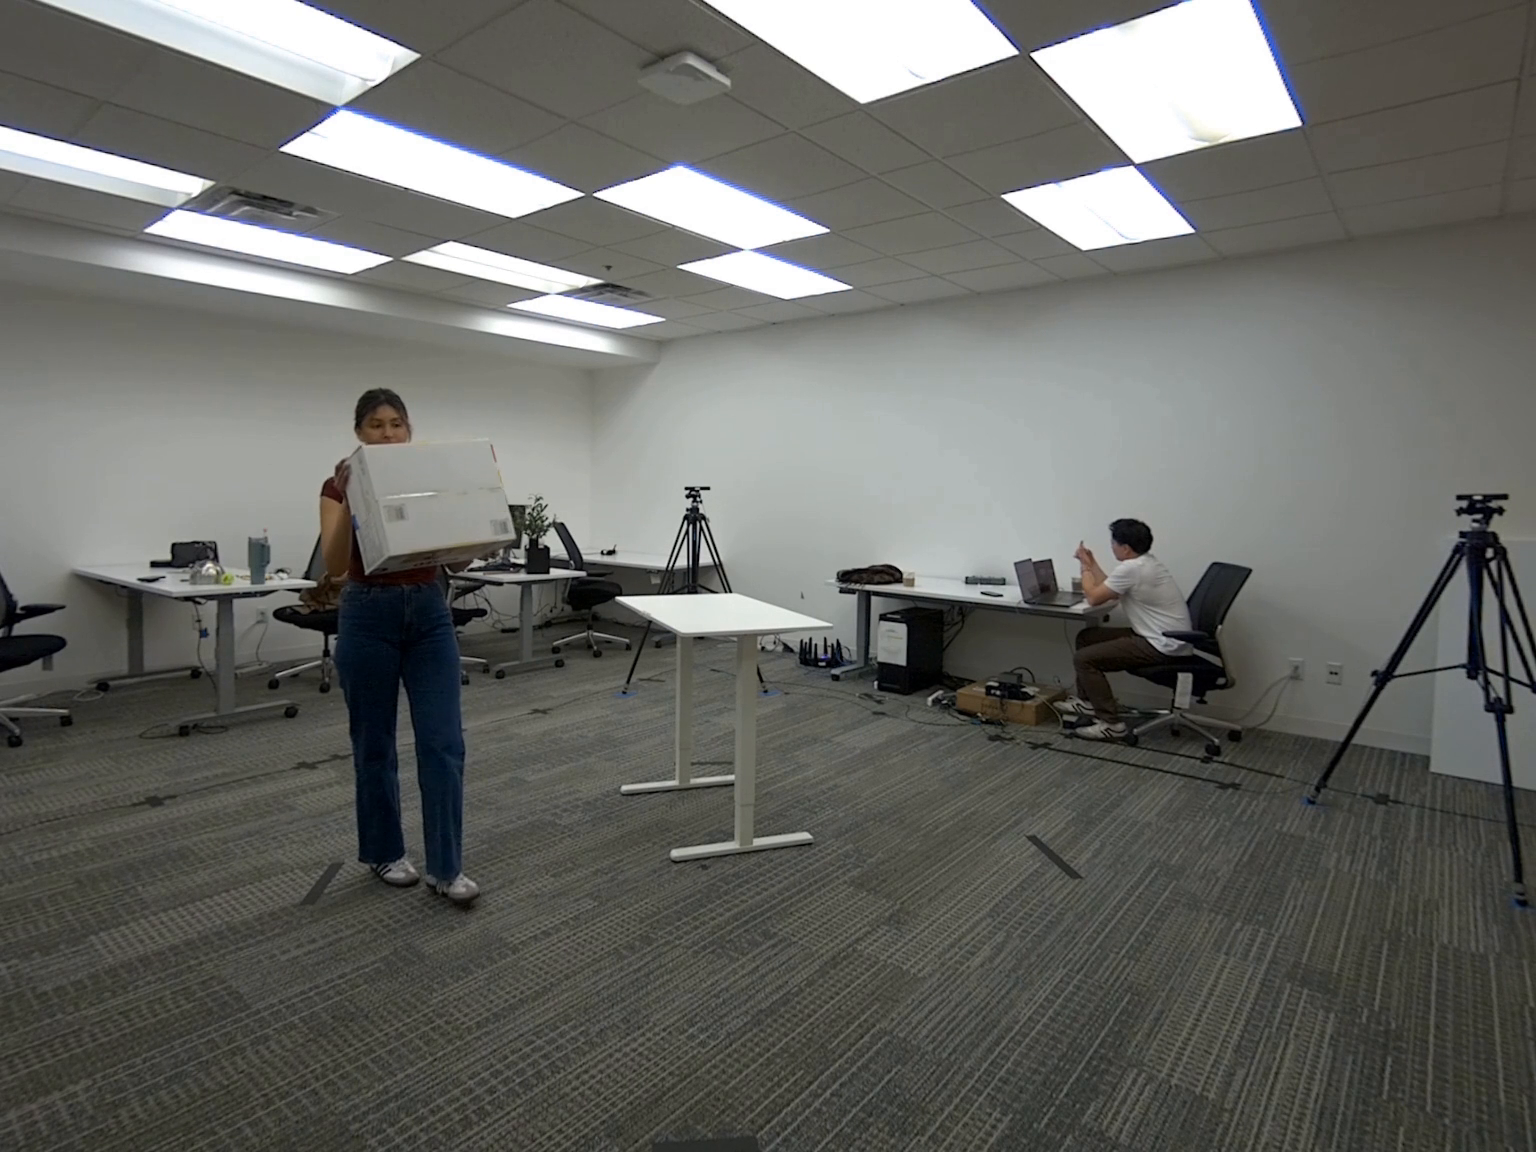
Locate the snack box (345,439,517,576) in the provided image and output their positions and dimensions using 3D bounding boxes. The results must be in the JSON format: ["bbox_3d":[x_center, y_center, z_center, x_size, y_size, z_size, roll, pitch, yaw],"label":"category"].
[{"bbox_3d":[-1.036,-0.219,2.591,0.395,0.343,0.209,-12,-9,-43],"label":"snack box"}]
